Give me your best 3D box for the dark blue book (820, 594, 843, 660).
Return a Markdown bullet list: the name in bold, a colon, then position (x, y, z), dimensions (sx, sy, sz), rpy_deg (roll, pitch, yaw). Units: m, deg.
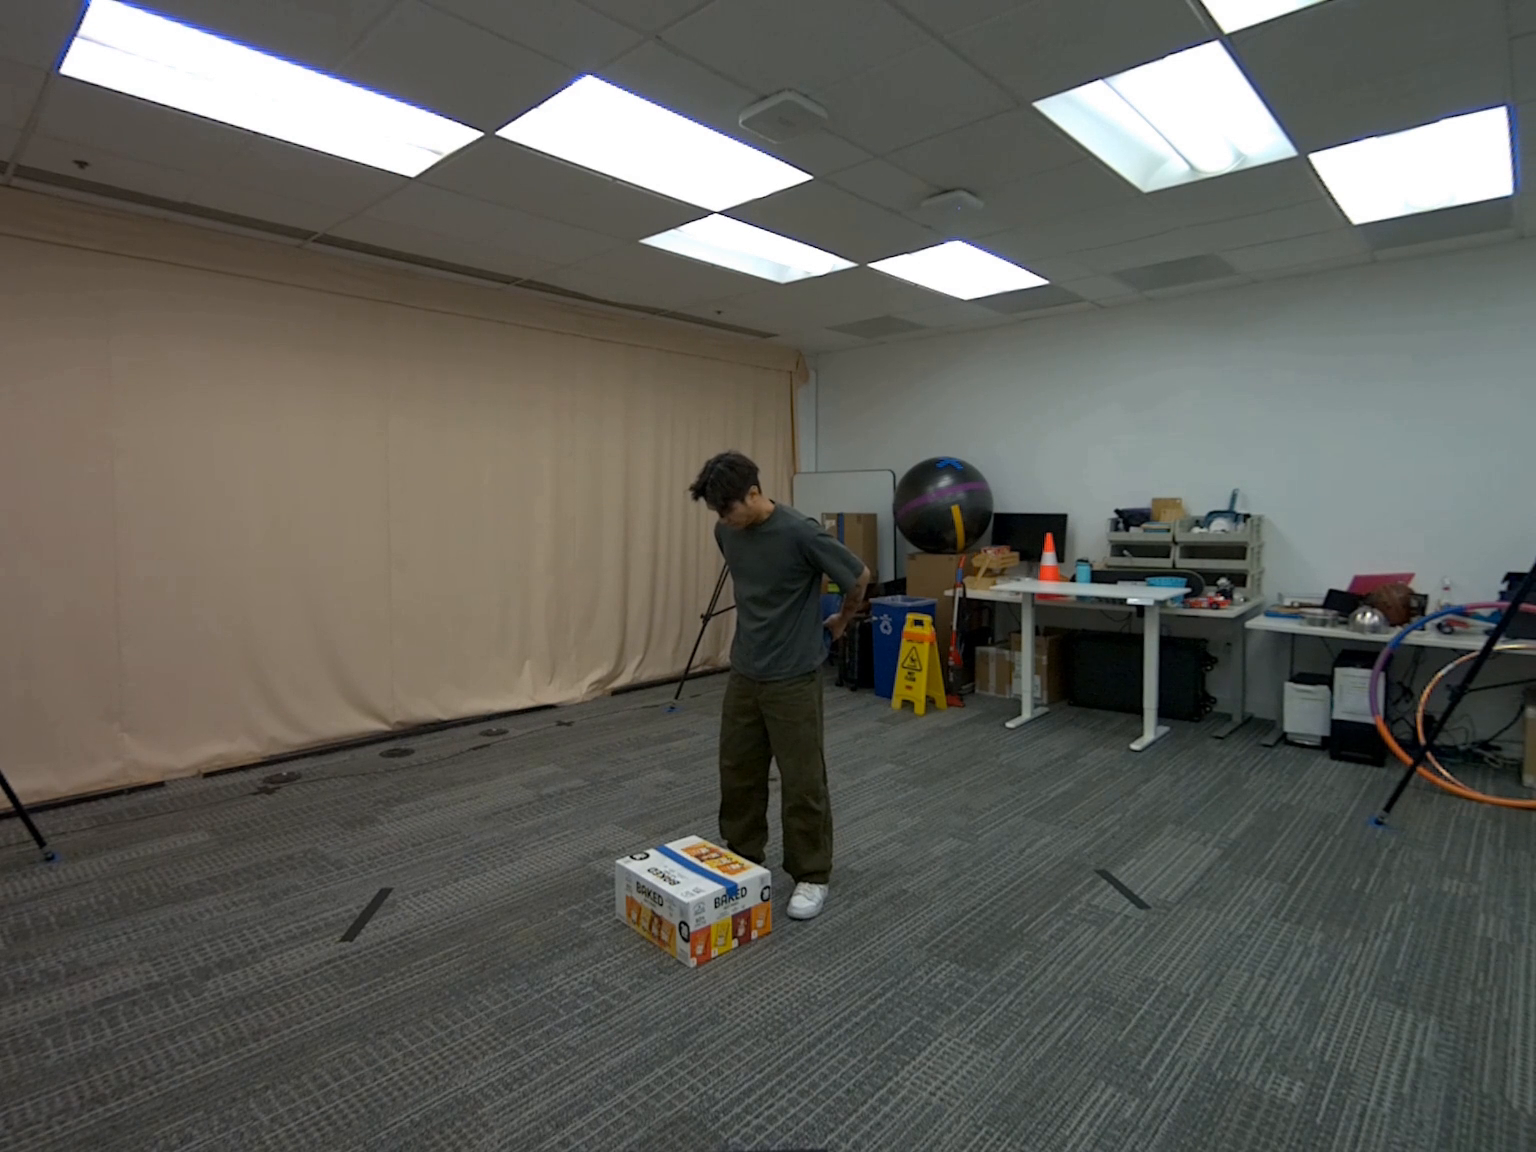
- **dark blue book**: position (0.187, 0.188, 3.206), dimensions (0.168, 0.246, 0.043), rpy_deg (-3, -28, 42)
